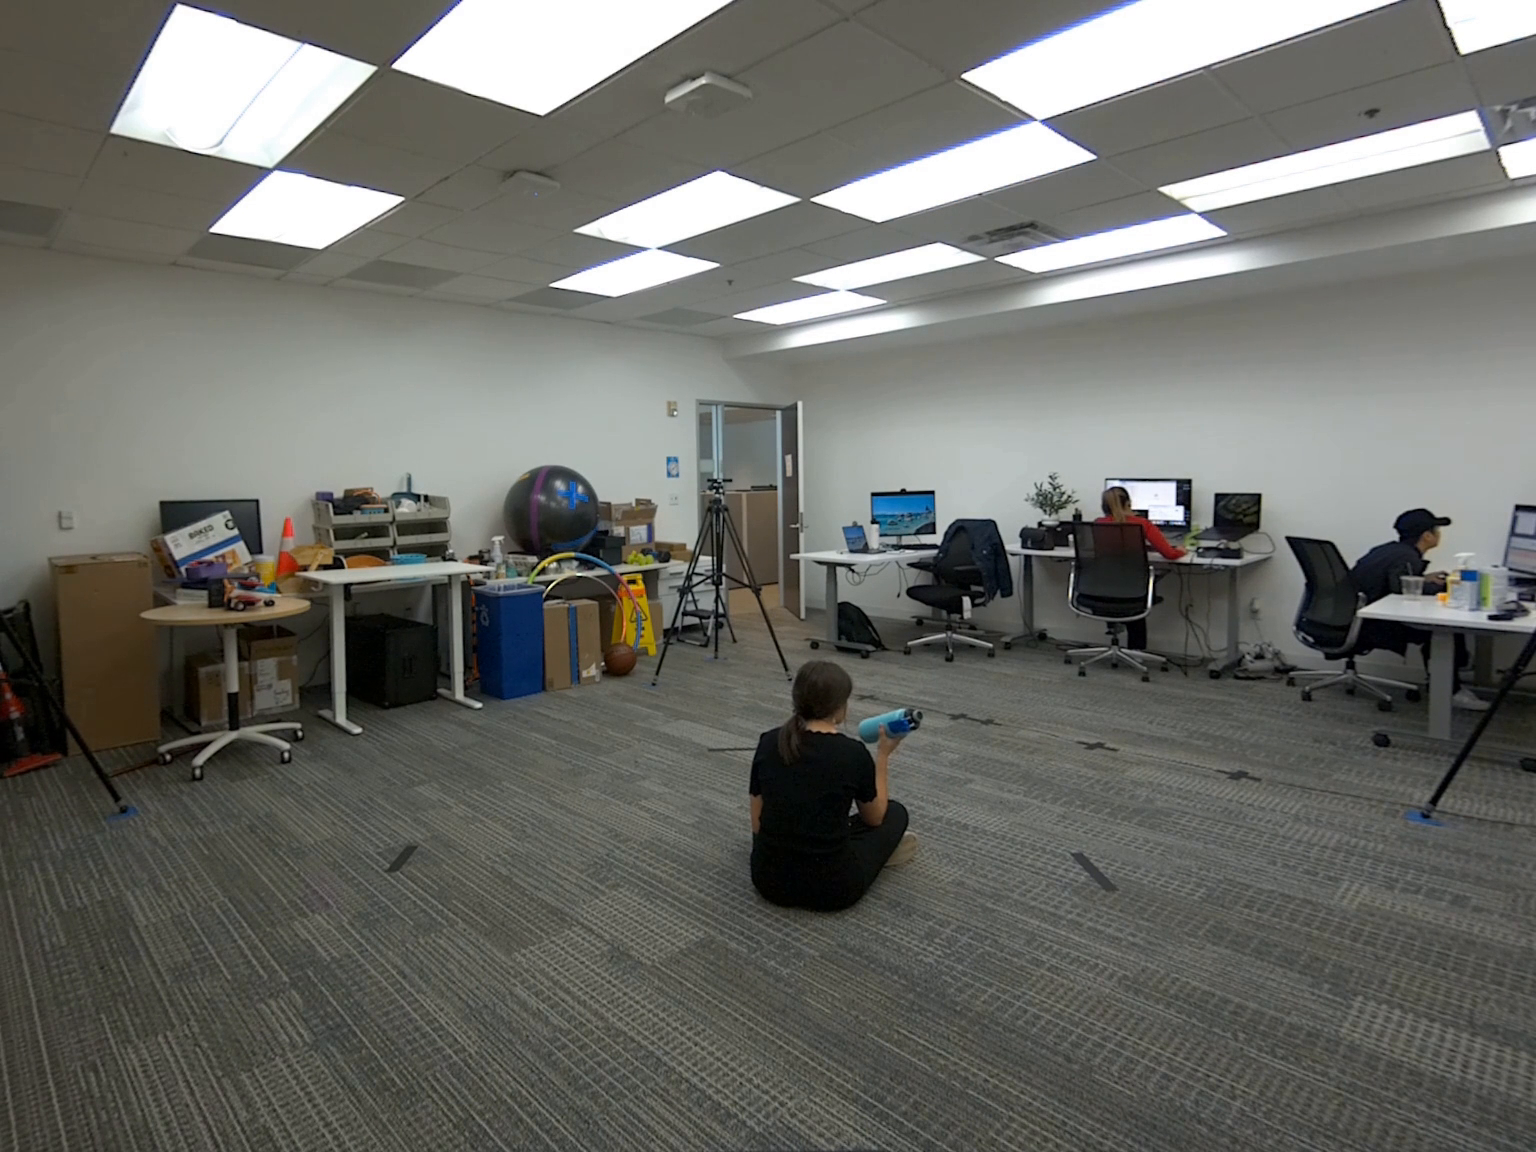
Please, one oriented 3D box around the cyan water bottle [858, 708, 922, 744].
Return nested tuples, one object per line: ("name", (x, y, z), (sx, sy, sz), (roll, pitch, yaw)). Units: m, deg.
("cyan water bottle", (0.446, 0.541, 3.102), (0.090, 0.094, 0.286), (-4, -16, -35))
